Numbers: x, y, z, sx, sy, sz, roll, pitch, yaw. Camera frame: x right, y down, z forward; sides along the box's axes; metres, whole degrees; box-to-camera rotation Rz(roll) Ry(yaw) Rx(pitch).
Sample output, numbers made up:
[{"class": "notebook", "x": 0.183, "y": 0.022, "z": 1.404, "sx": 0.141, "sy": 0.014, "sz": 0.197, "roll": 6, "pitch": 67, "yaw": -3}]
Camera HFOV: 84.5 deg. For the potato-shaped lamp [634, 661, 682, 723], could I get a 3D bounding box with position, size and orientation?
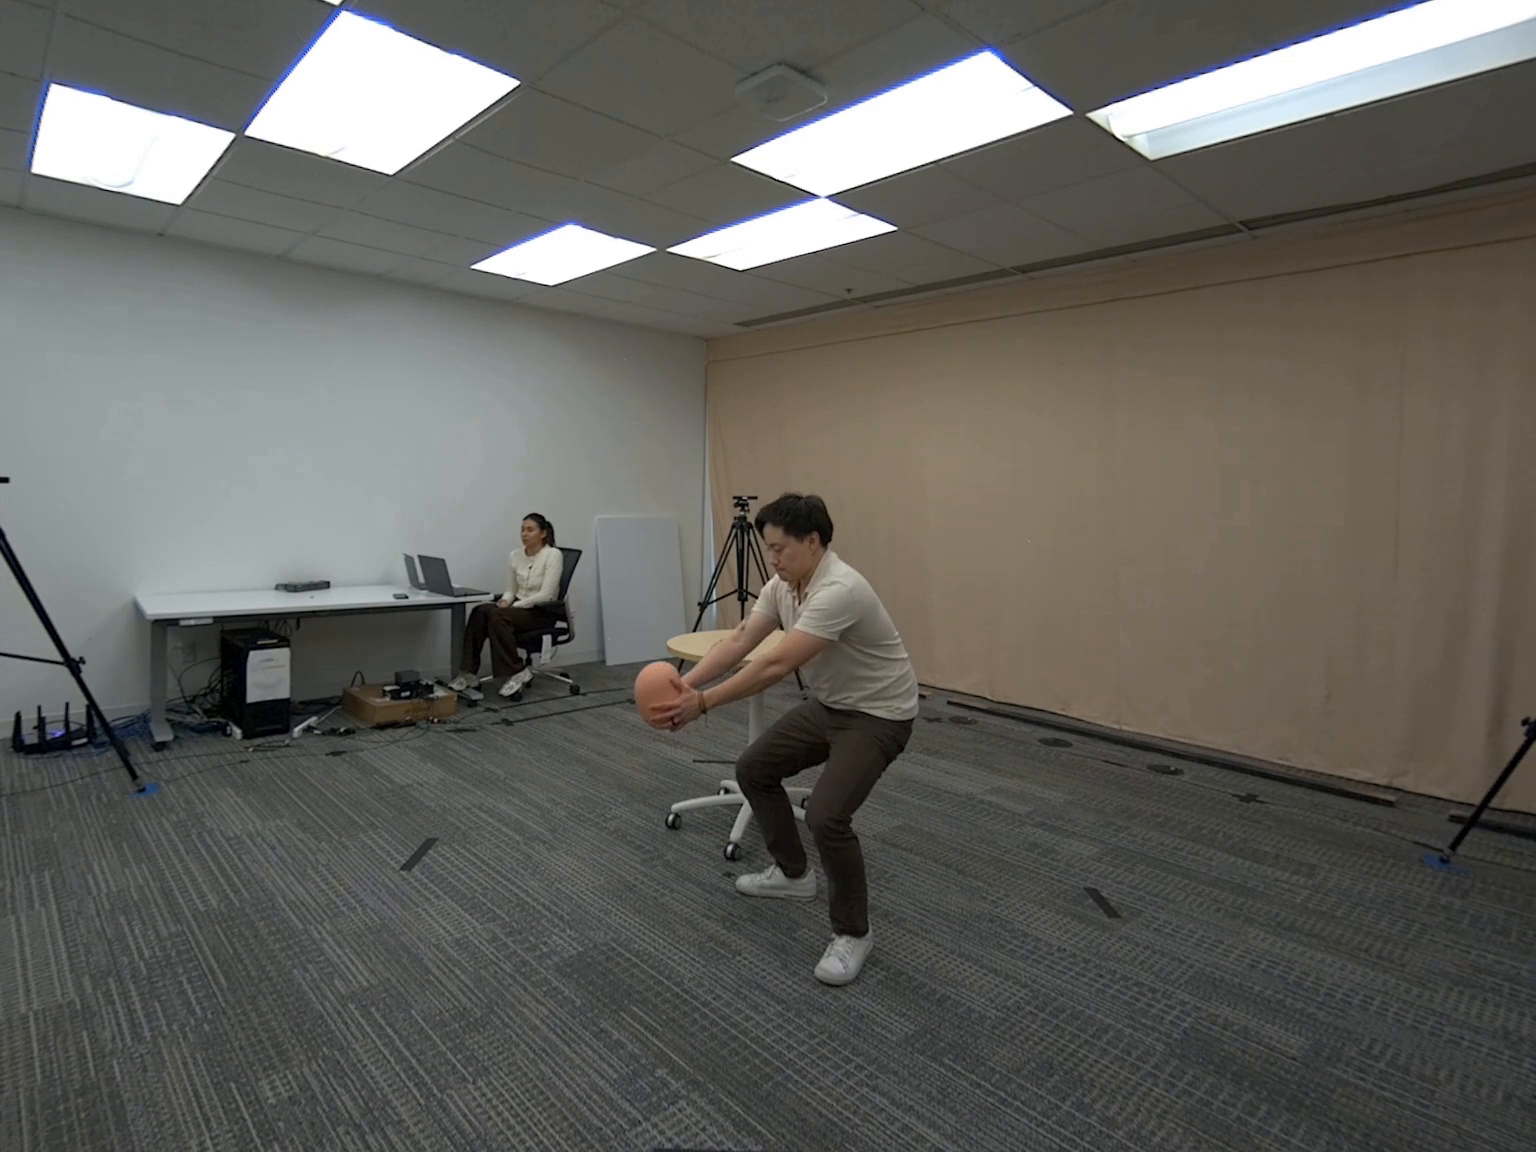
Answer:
[{"class": "potato-shaped lamp", "x": -0.312, "y": 0.357, "z": 2.520, "sx": 0.170, "sy": 0.196, "sz": 0.167, "roll": -23, "pitch": 8, "yaw": -15}]
